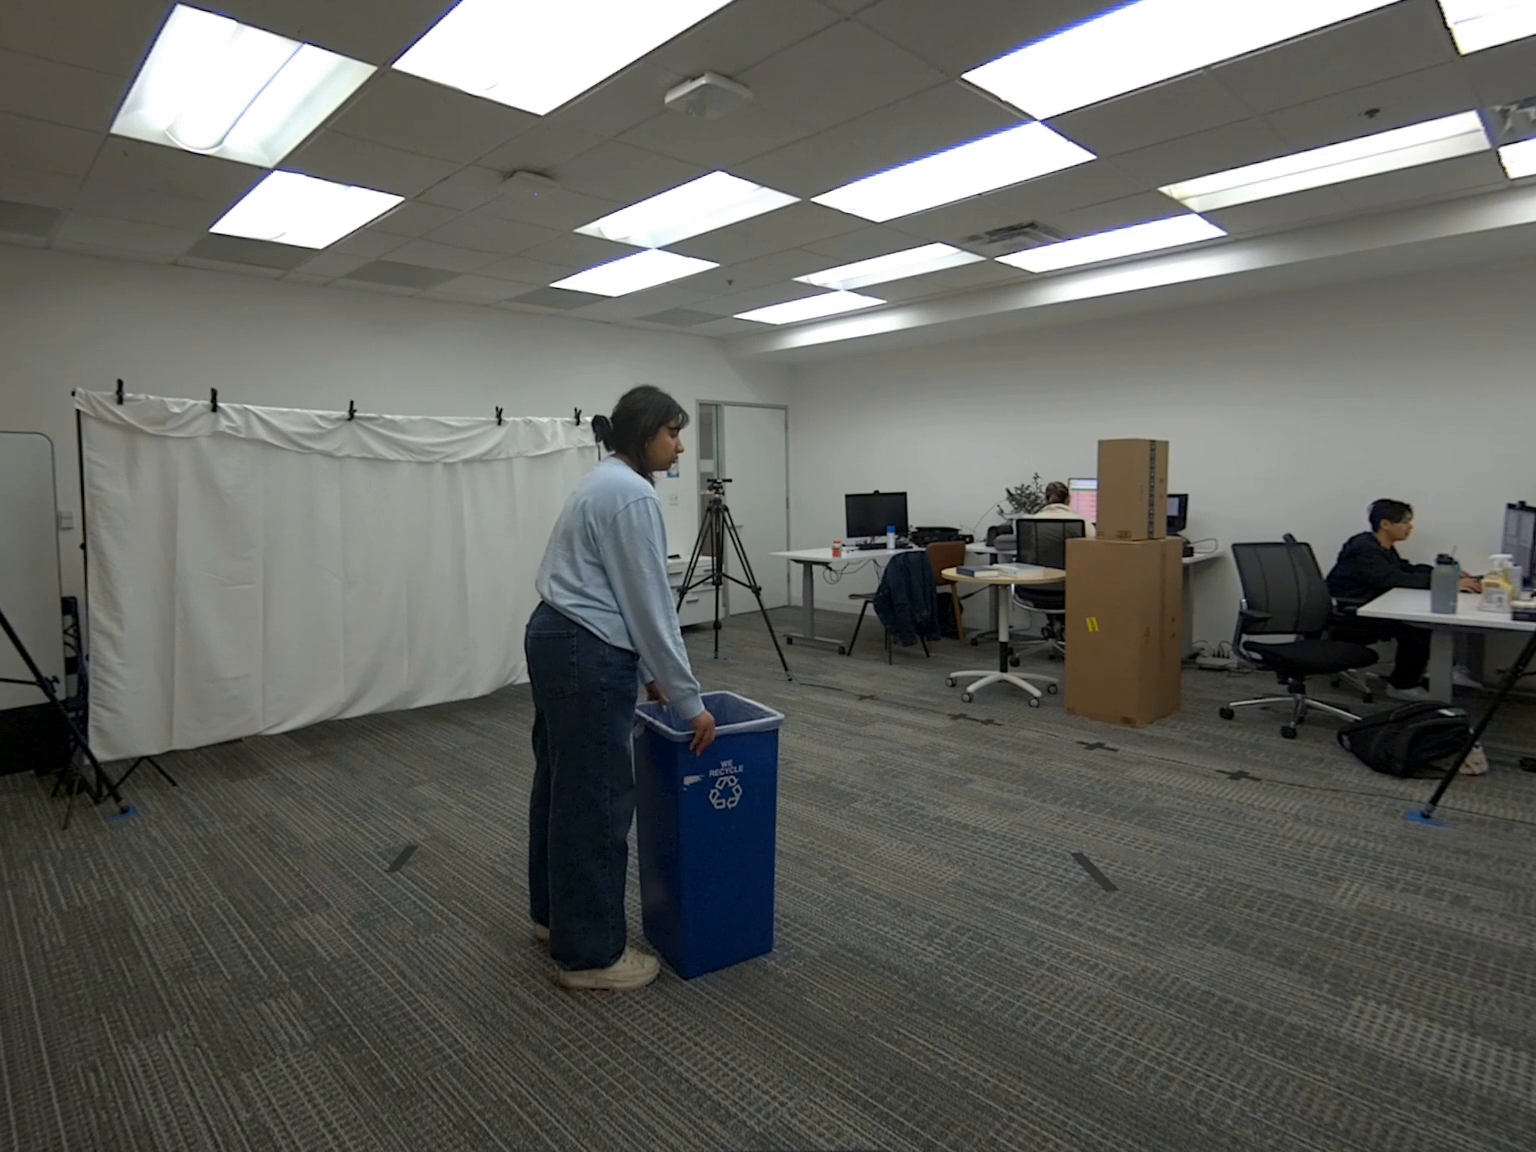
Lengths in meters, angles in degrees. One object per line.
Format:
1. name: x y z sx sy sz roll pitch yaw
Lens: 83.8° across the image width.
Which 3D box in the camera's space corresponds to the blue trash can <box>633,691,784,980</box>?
1. blue trash can: -0.180 0.753 2.575 0.365 0.711 0.389 -3 5 -31
